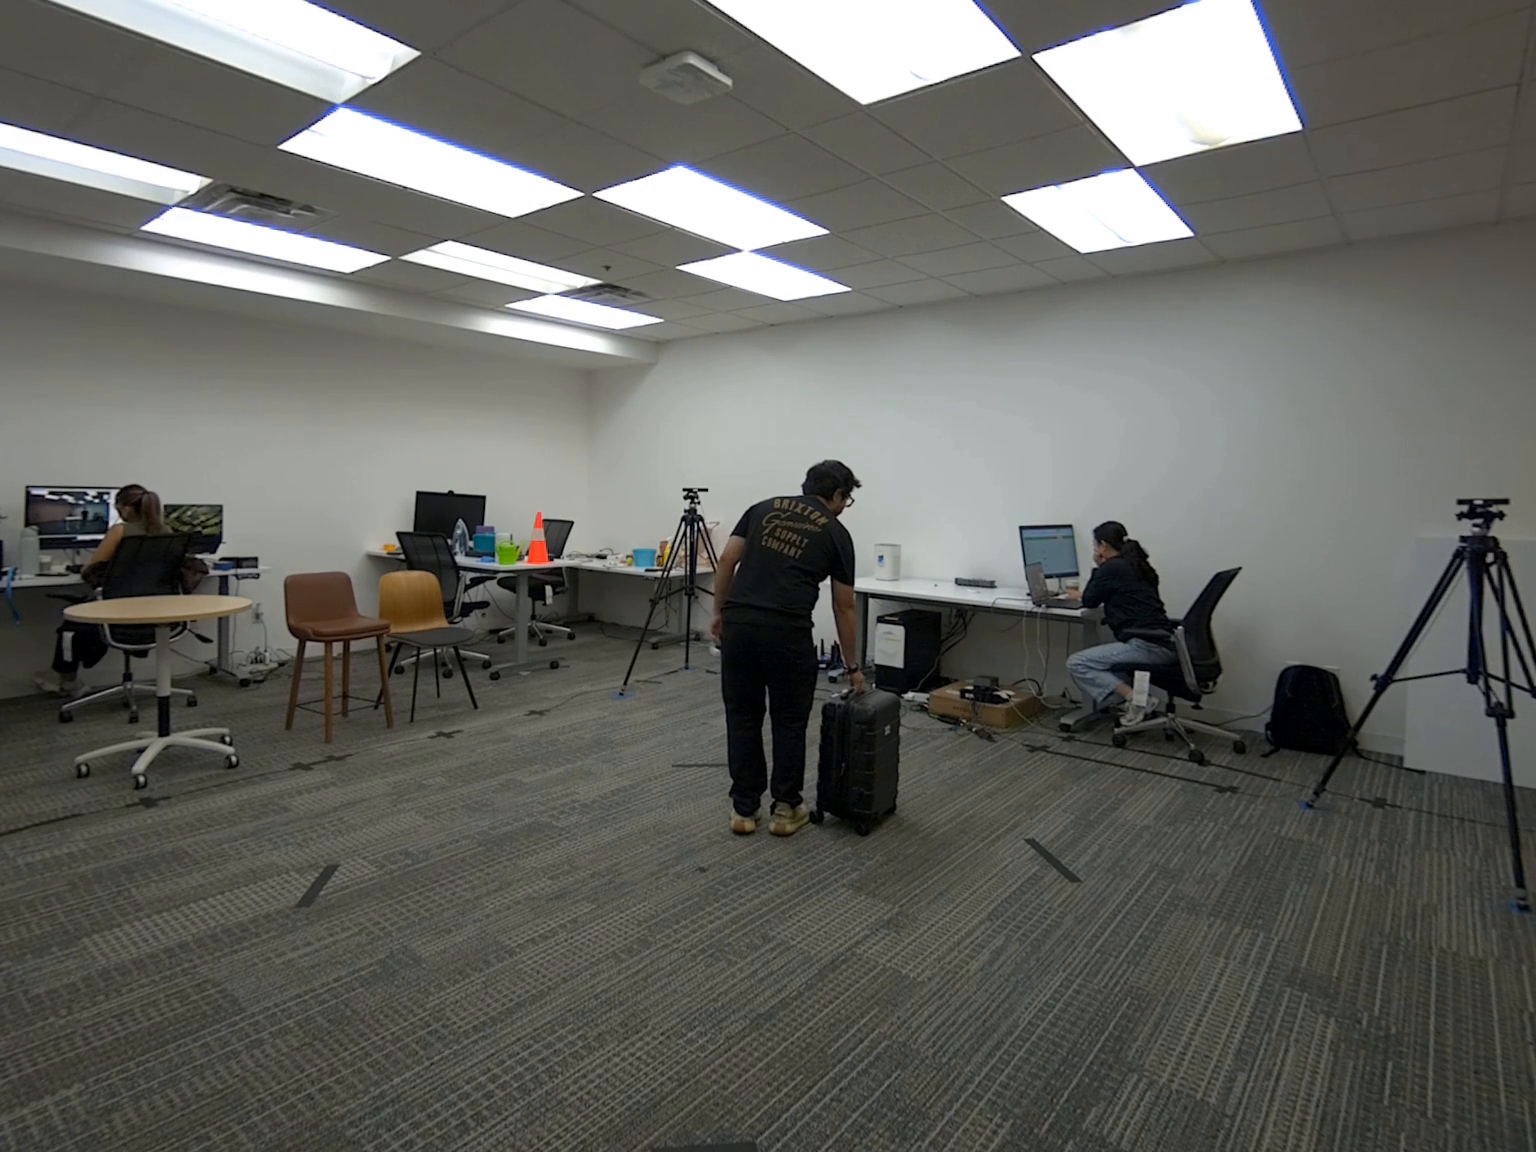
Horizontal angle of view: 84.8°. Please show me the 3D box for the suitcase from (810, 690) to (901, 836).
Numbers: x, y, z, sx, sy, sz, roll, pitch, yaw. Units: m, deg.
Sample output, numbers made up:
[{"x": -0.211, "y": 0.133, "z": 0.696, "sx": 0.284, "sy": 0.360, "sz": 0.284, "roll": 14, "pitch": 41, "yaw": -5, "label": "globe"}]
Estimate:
[{"x": 0.380, "y": 0.760, "z": 3.613, "sx": 0.255, "sy": 0.547, "sz": 0.367, "roll": 5, "pitch": 6, "yaw": 27, "label": "suitcase"}]
